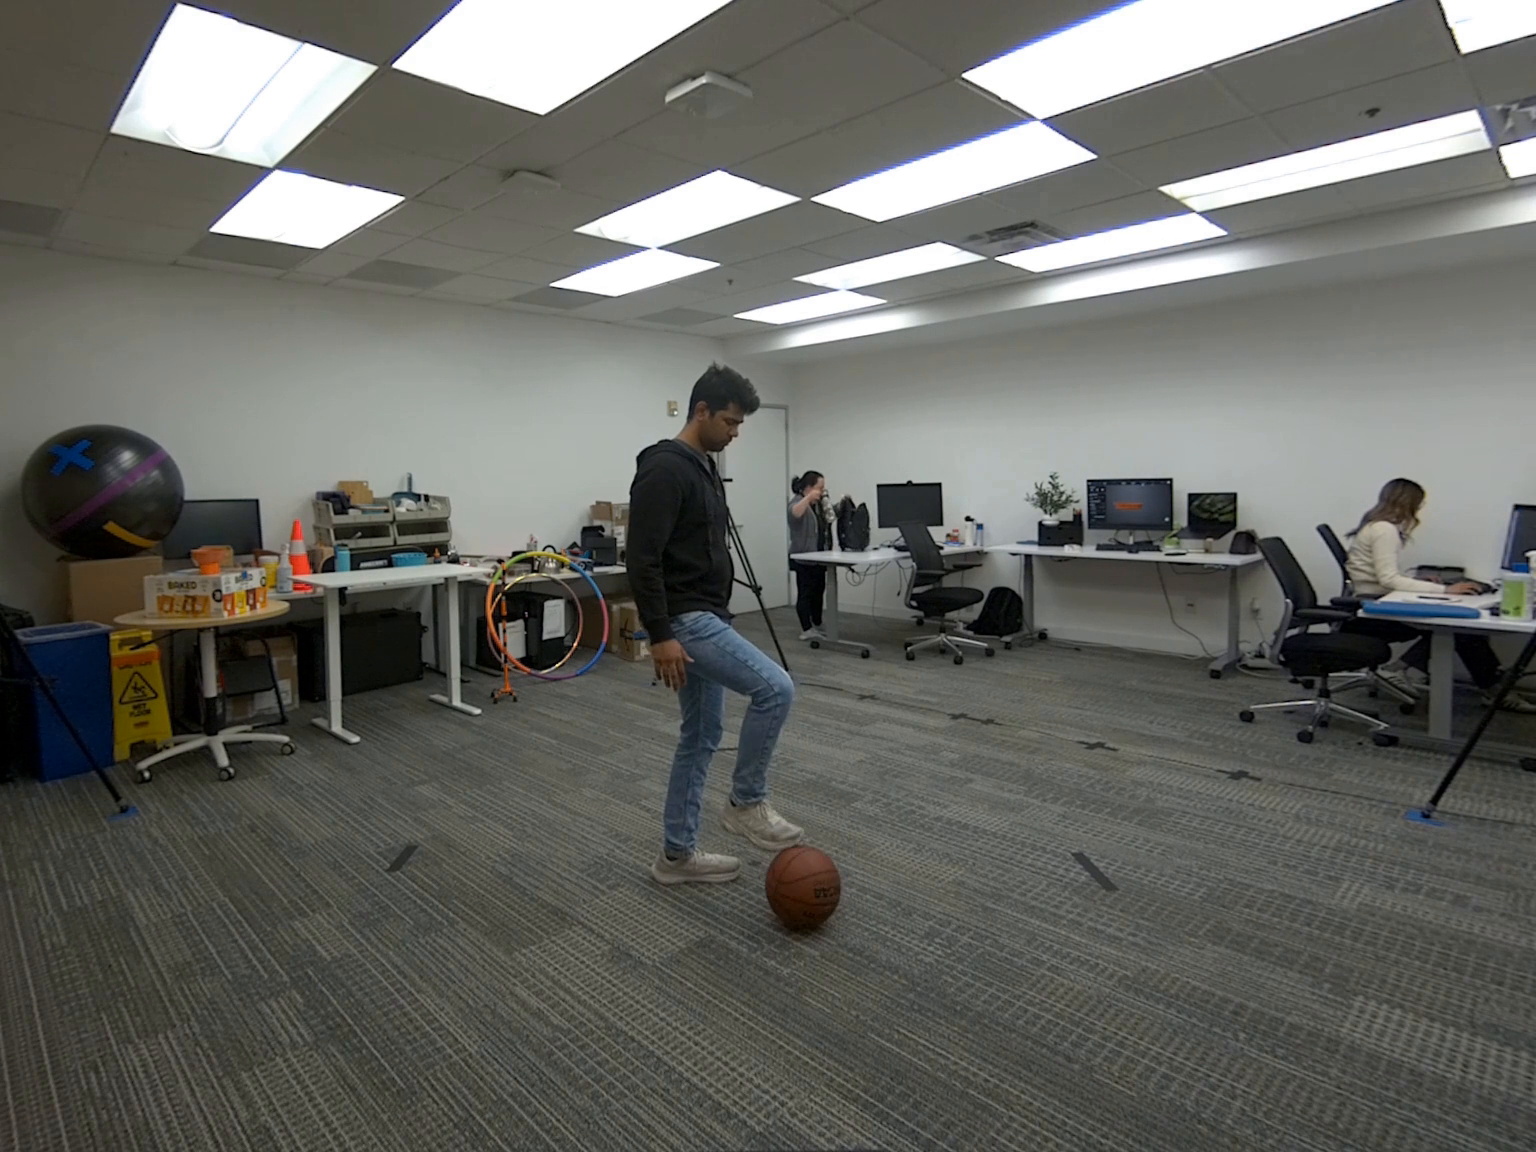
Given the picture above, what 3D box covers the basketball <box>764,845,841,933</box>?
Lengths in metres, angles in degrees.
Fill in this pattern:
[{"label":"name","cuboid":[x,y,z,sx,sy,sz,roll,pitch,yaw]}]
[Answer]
[{"label":"basketball","cuboid":[0.117,0.970,2.672,0.236,0.235,0.237,-1,5,-2]}]
